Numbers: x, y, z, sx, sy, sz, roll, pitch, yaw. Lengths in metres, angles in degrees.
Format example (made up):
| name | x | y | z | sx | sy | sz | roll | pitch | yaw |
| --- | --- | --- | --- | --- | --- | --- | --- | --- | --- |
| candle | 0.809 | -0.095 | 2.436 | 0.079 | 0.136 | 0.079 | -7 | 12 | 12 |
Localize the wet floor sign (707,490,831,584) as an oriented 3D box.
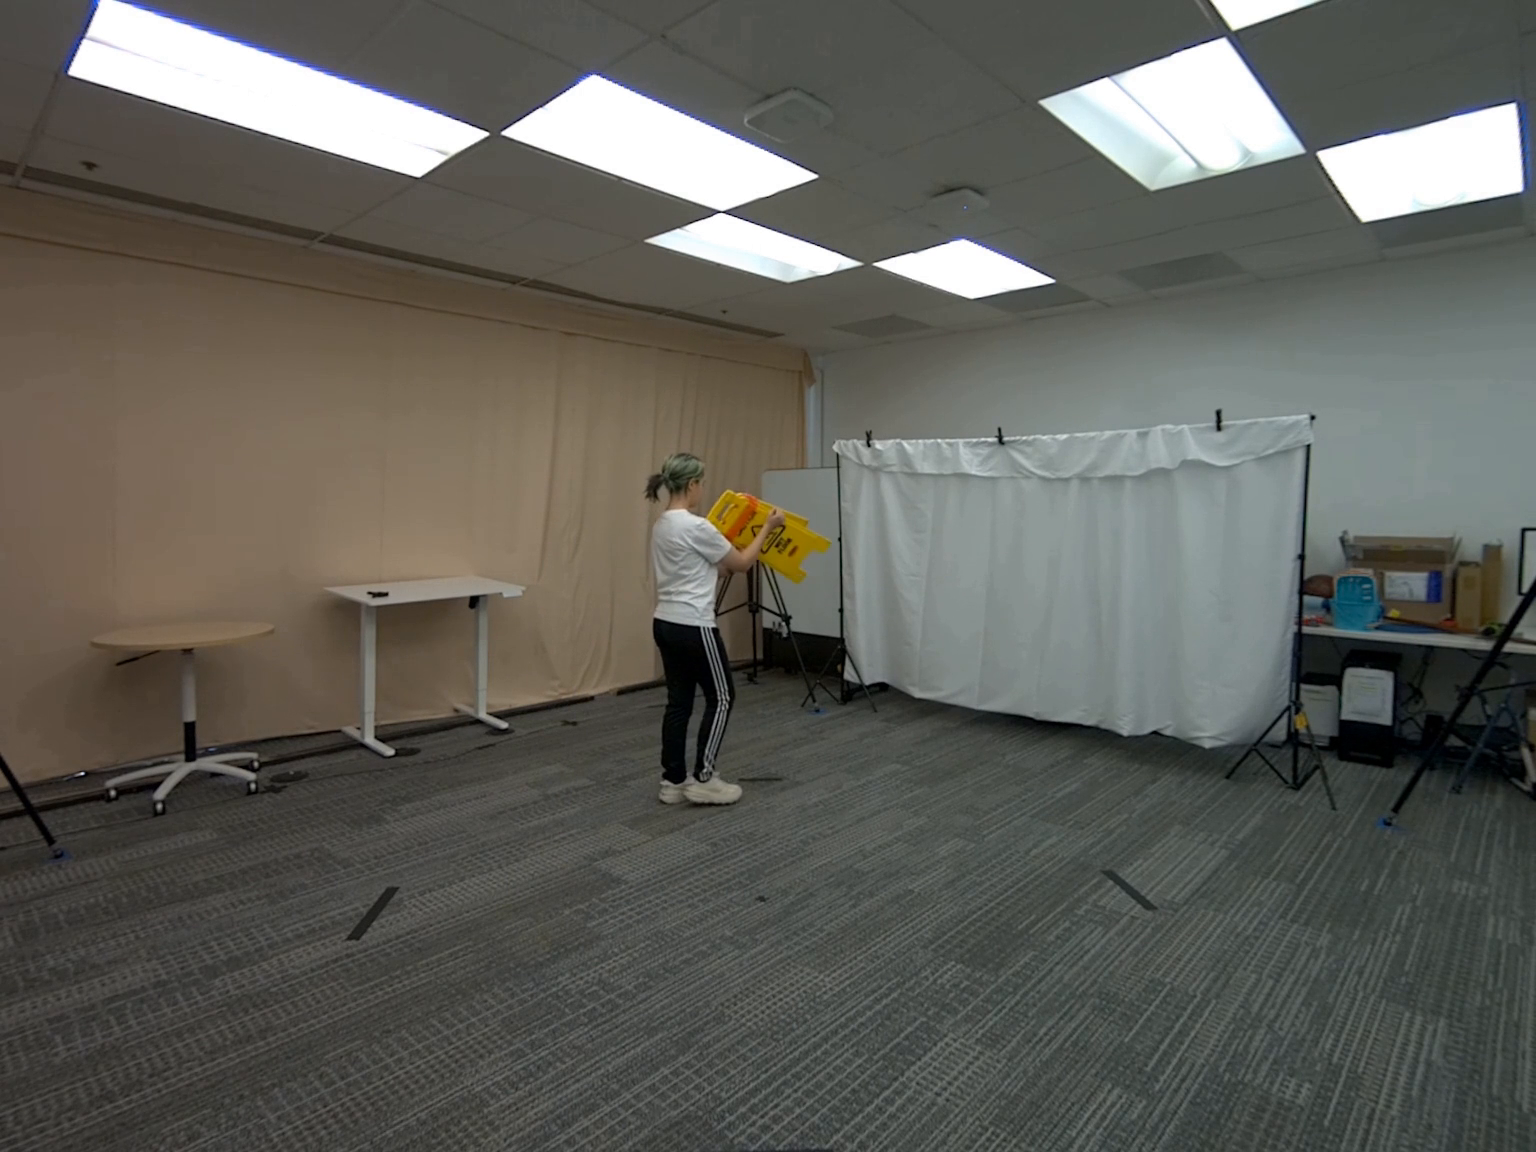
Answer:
| name | x | y | z | sx | sy | sz | roll | pitch | yaw |
| --- | --- | --- | --- | --- | --- | --- | --- | --- | --- |
| wet floor sign | -0.032 | -0.223 | 4.148 | 0.623 | 0.282 | 0.300 | 26 | 14 | -40 |
